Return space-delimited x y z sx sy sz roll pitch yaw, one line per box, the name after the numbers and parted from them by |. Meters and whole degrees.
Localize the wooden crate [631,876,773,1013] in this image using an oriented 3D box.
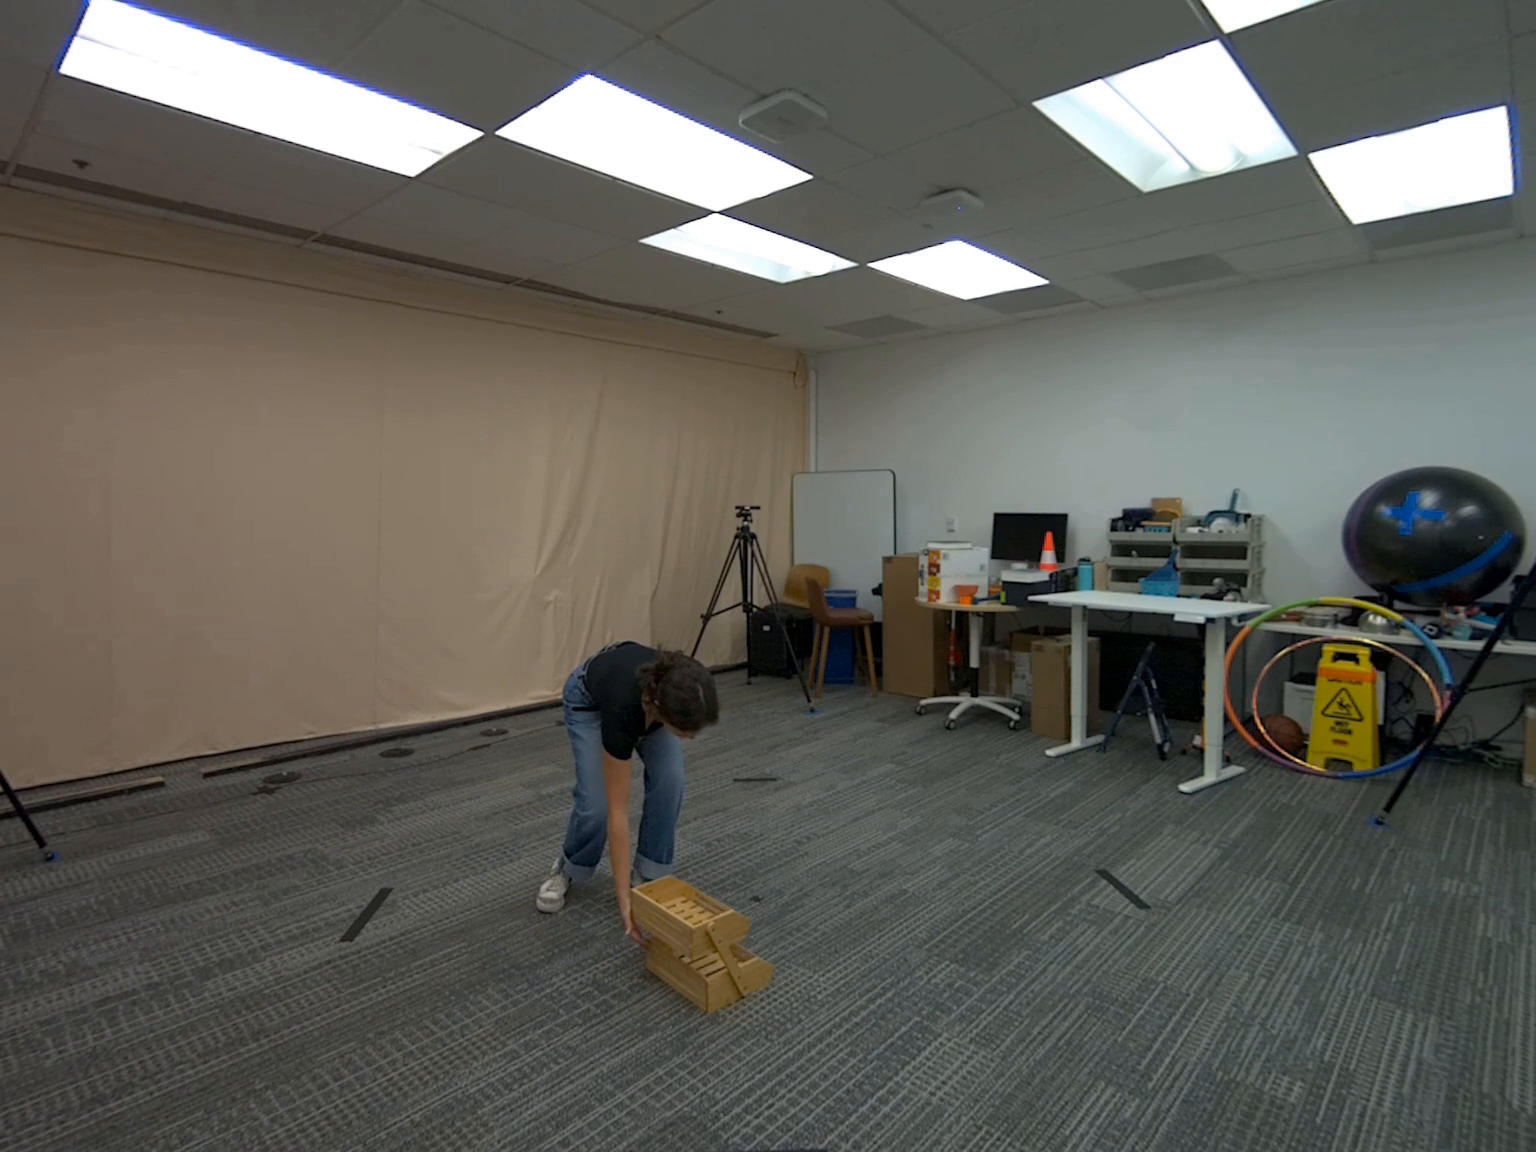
-0.191 1.053 2.474 0.293 0.273 0.335 -4 5 -41 | wooden crate
